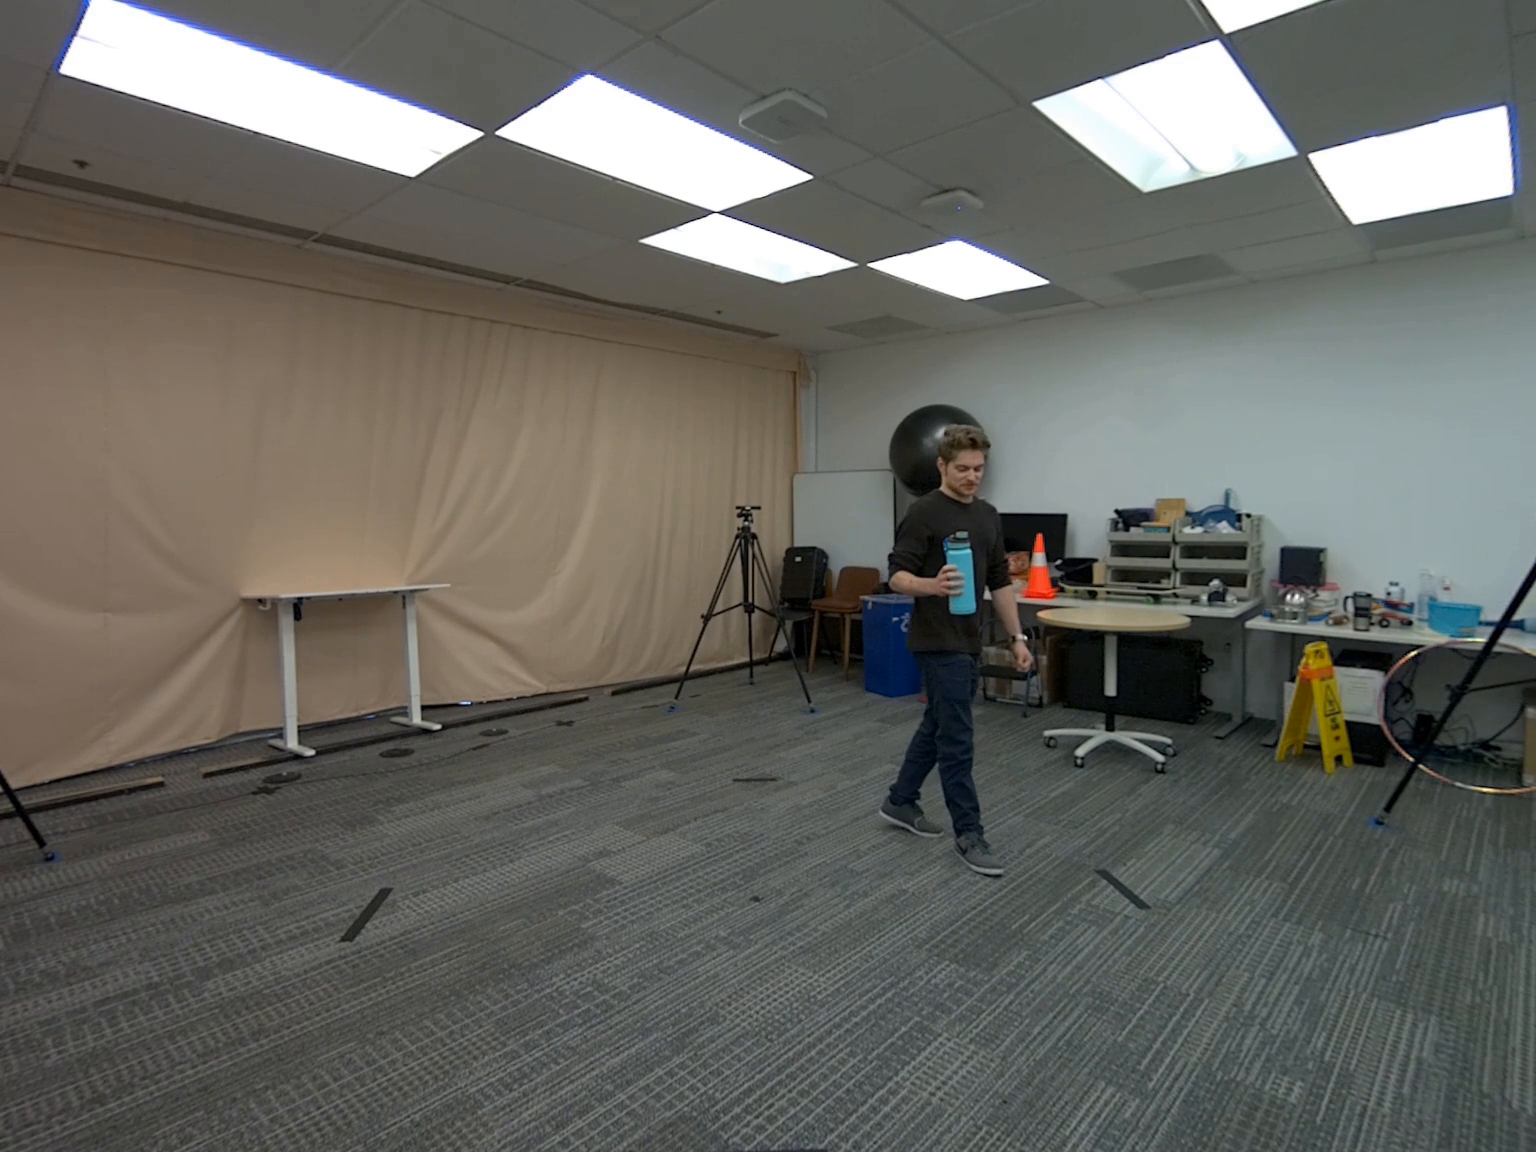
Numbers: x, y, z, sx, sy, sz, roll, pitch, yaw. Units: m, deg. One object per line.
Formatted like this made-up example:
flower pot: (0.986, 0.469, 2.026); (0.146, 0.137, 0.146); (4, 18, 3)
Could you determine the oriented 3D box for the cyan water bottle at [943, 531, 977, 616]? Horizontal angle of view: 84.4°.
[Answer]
cyan water bottle: (0.680, -0.014, 2.980); (0.092, 0.282, 0.093); (-7, 8, -1)
